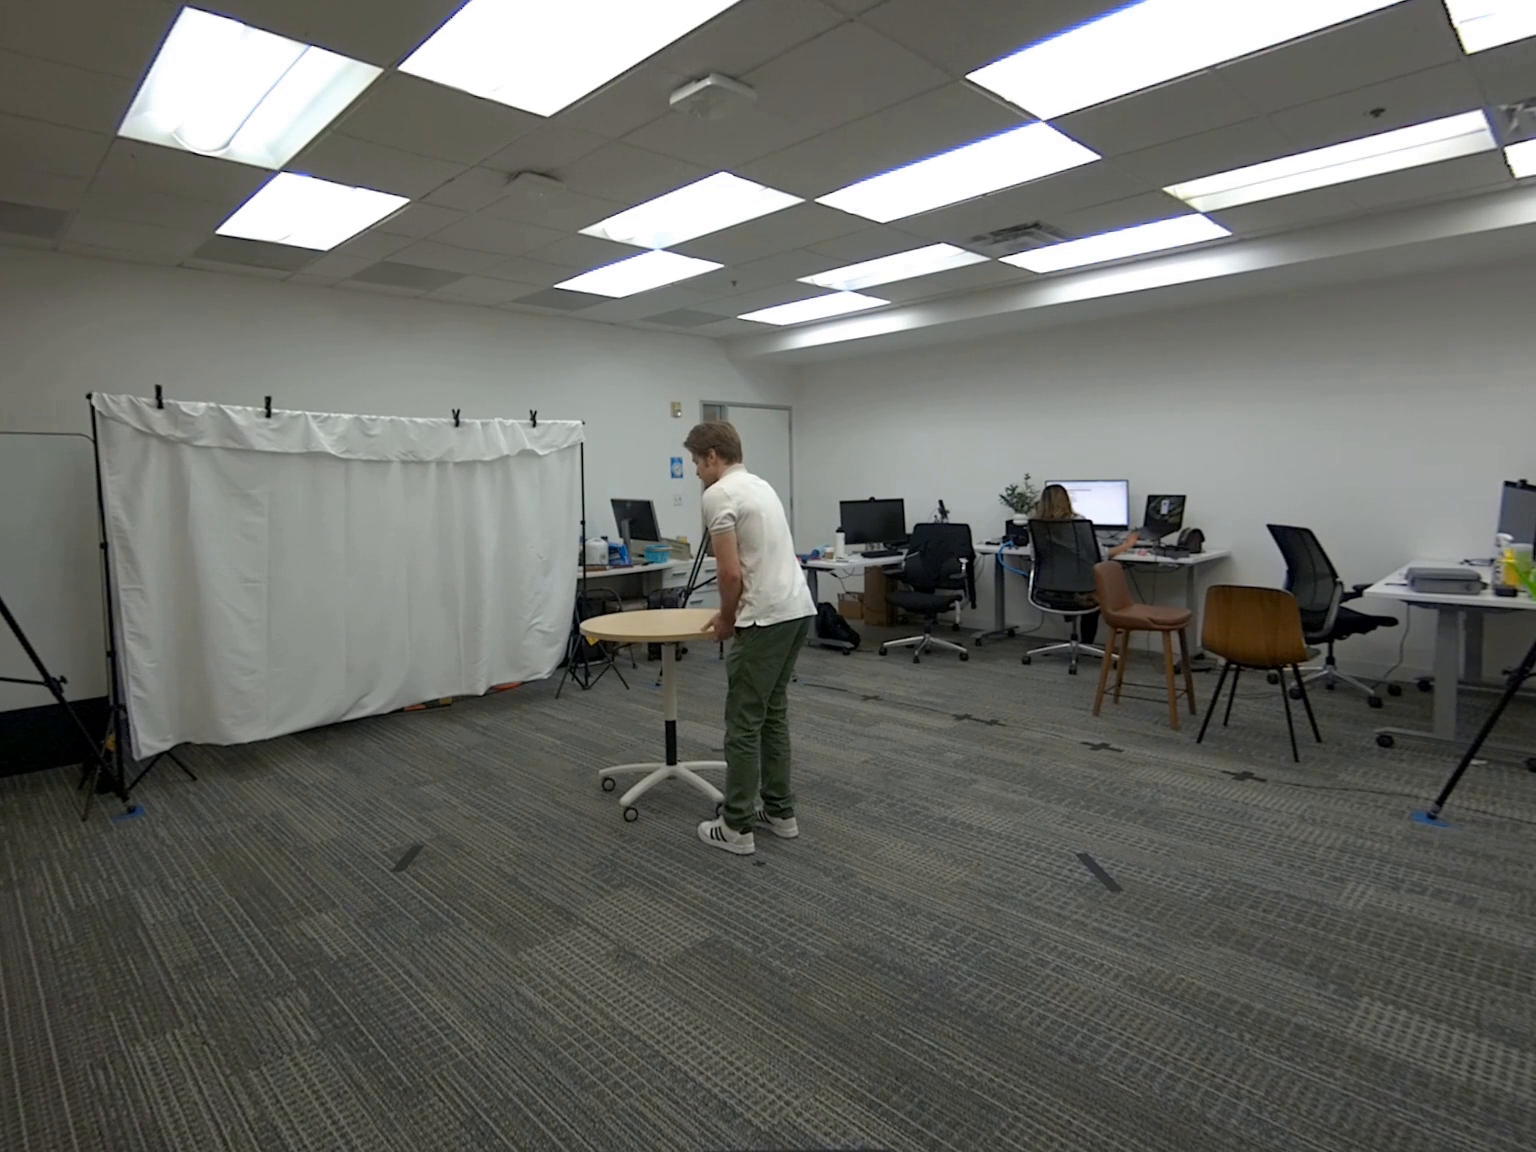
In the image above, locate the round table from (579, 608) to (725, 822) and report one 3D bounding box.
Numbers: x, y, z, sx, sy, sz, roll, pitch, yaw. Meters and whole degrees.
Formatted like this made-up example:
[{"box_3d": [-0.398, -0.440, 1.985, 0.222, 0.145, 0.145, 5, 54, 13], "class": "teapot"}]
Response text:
[{"box_3d": [-0.435, 0.590, 3.789, 0.763, 0.792, 0.767, -2, 4, -2], "class": "round table"}]
